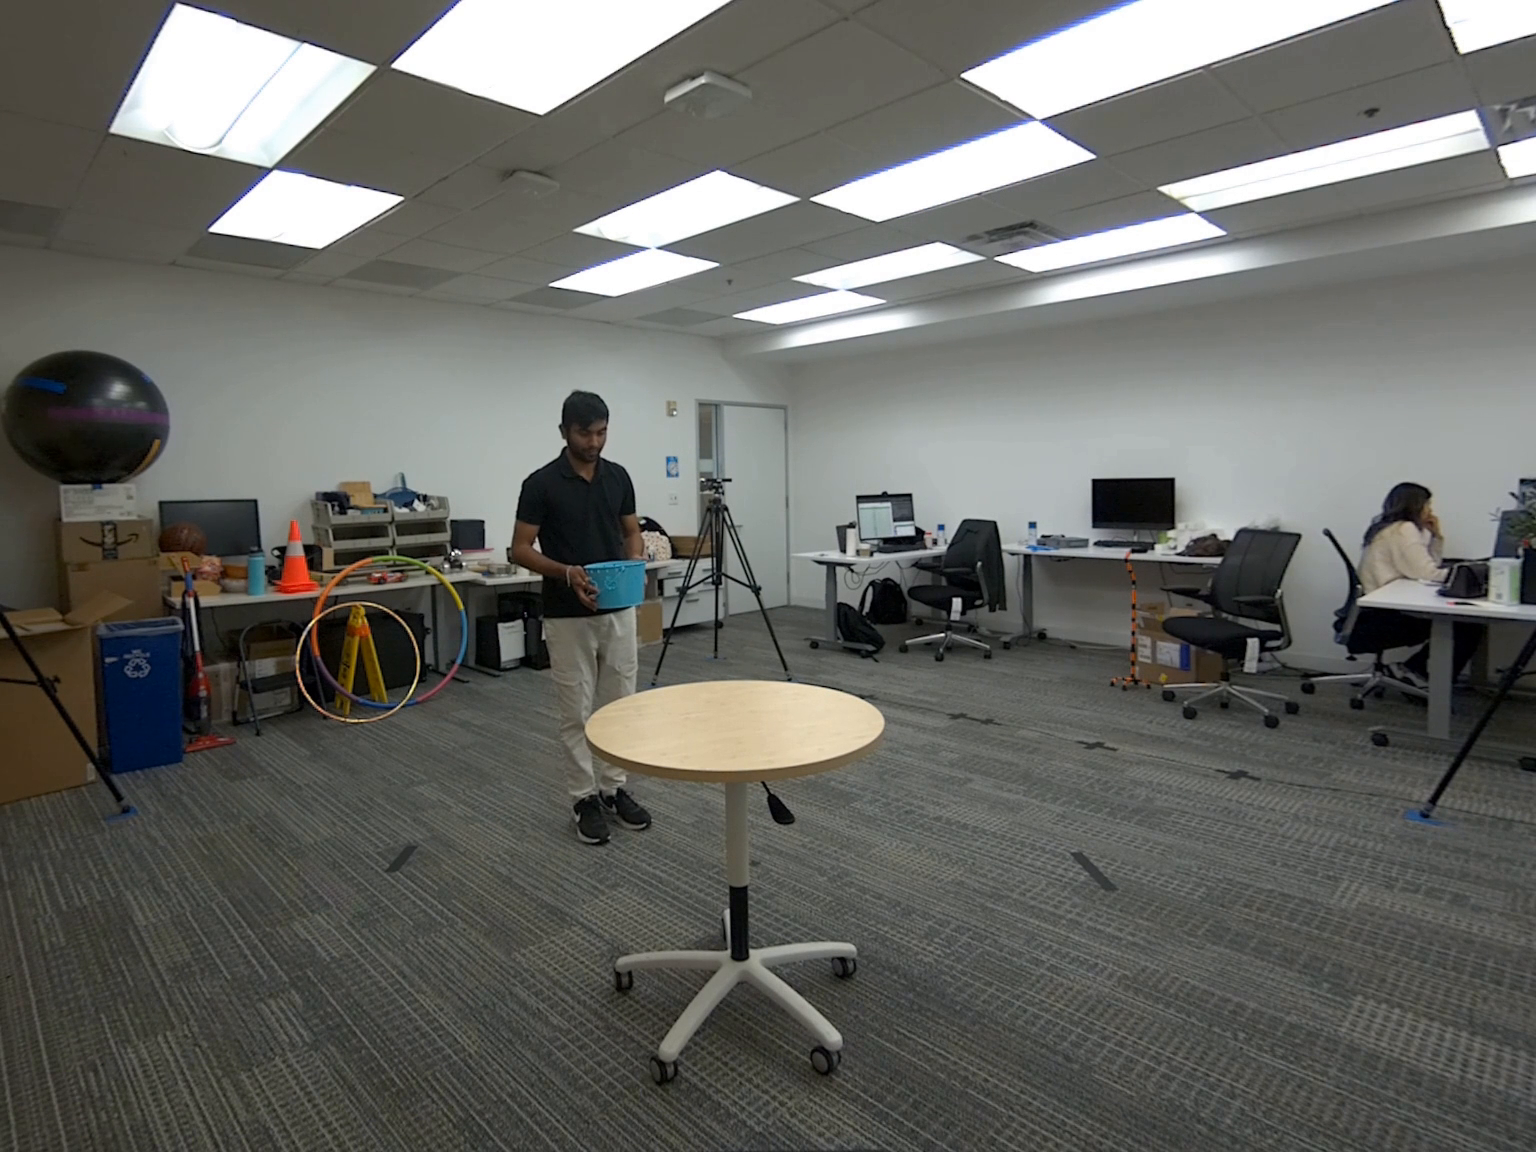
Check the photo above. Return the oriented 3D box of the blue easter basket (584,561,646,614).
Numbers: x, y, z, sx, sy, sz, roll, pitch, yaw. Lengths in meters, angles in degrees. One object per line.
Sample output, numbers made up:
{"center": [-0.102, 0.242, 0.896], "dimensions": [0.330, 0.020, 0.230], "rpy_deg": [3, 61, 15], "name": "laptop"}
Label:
{"center": [-0.578, 0.035, 3.163], "dimensions": [0.243, 0.155, 0.244], "rpy_deg": [-5, 4, -1], "name": "blue easter basket"}
